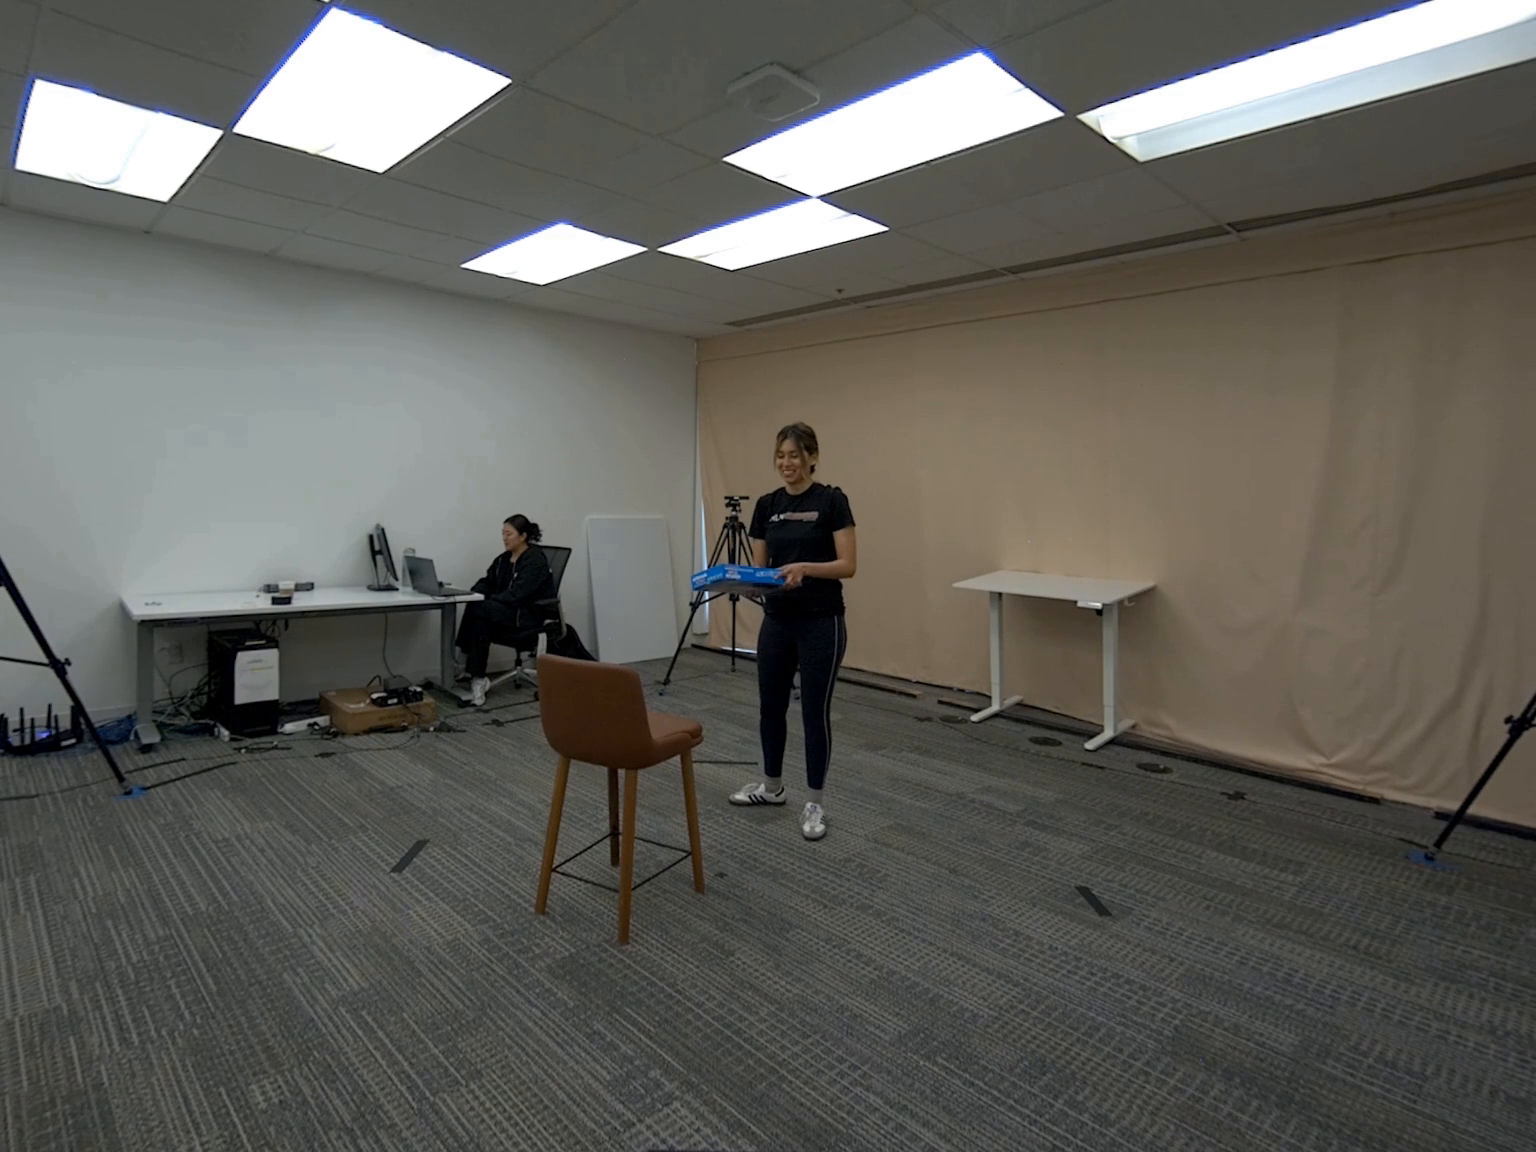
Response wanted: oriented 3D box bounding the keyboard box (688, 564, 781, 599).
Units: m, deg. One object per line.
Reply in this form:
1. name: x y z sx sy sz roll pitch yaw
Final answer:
1. keyboard box: -0.080 0.023 3.212 0.178 0.060 0.425 -19 -18 41
